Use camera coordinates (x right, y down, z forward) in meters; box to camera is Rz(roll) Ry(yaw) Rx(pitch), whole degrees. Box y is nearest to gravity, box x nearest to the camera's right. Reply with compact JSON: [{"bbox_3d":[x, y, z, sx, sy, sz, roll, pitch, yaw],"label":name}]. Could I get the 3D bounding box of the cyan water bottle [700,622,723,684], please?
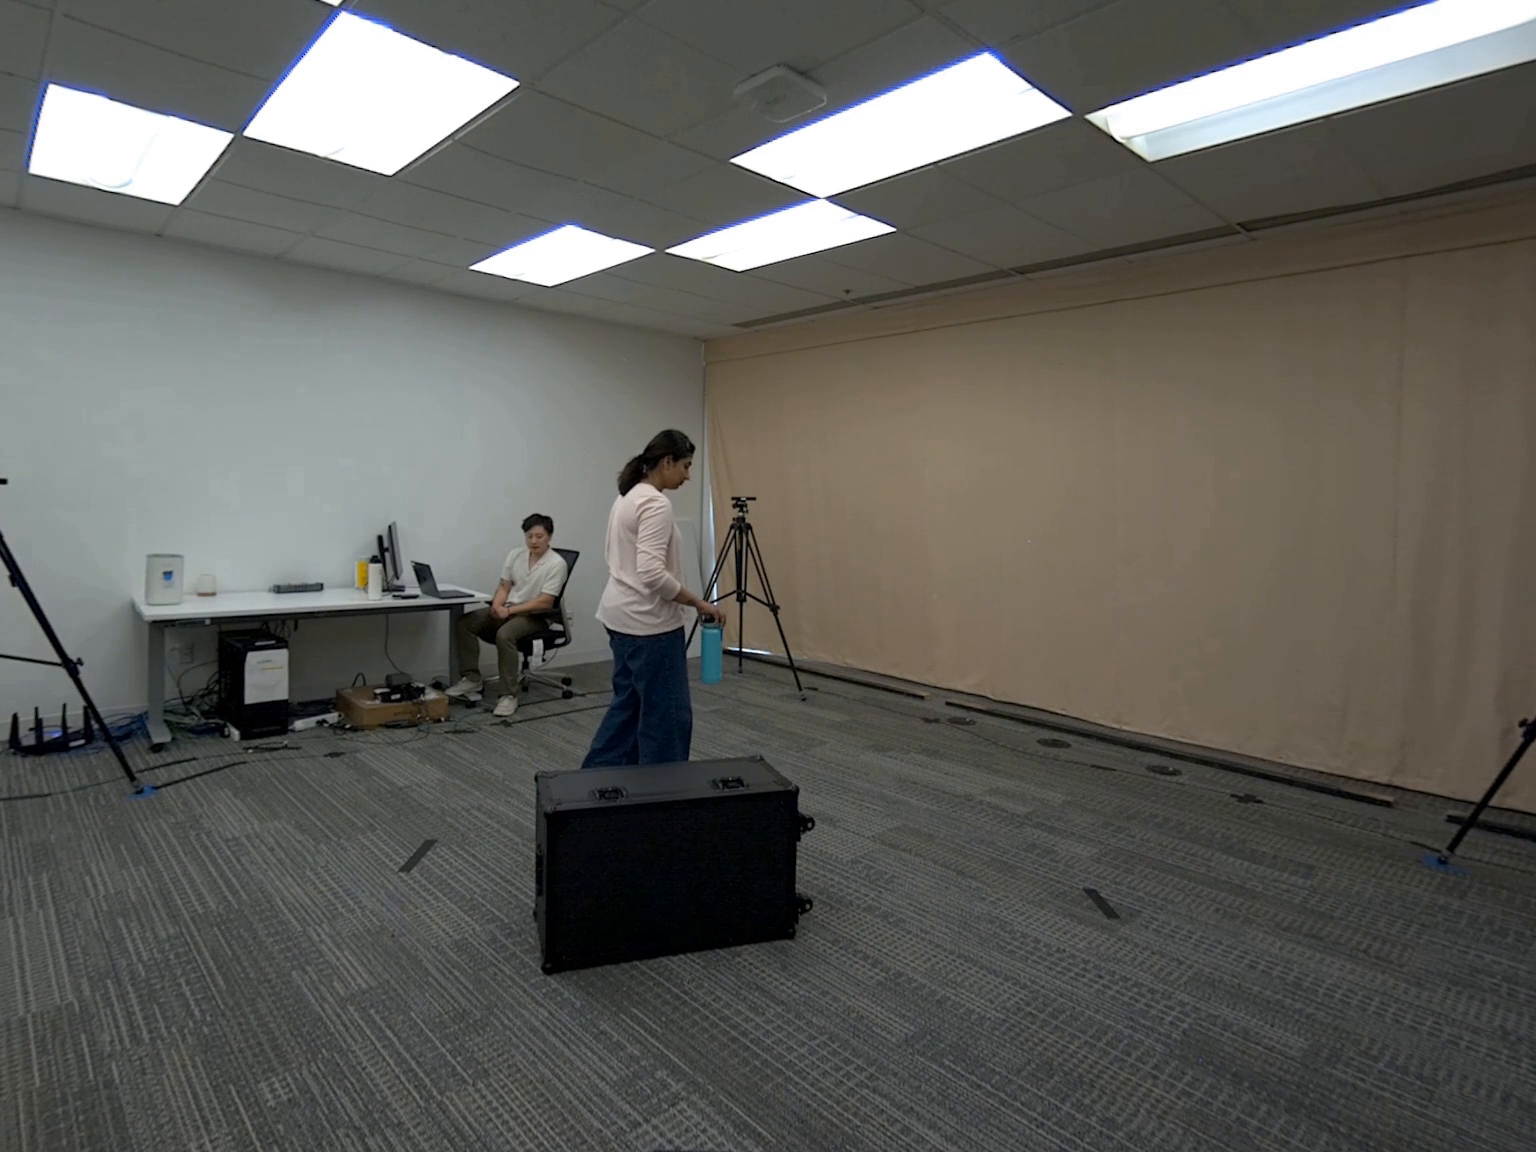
[{"bbox_3d":[-0.250,0.295,3.471,0.092,0.282,0.093,1,7,-2],"label":"cyan water bottle"}]
